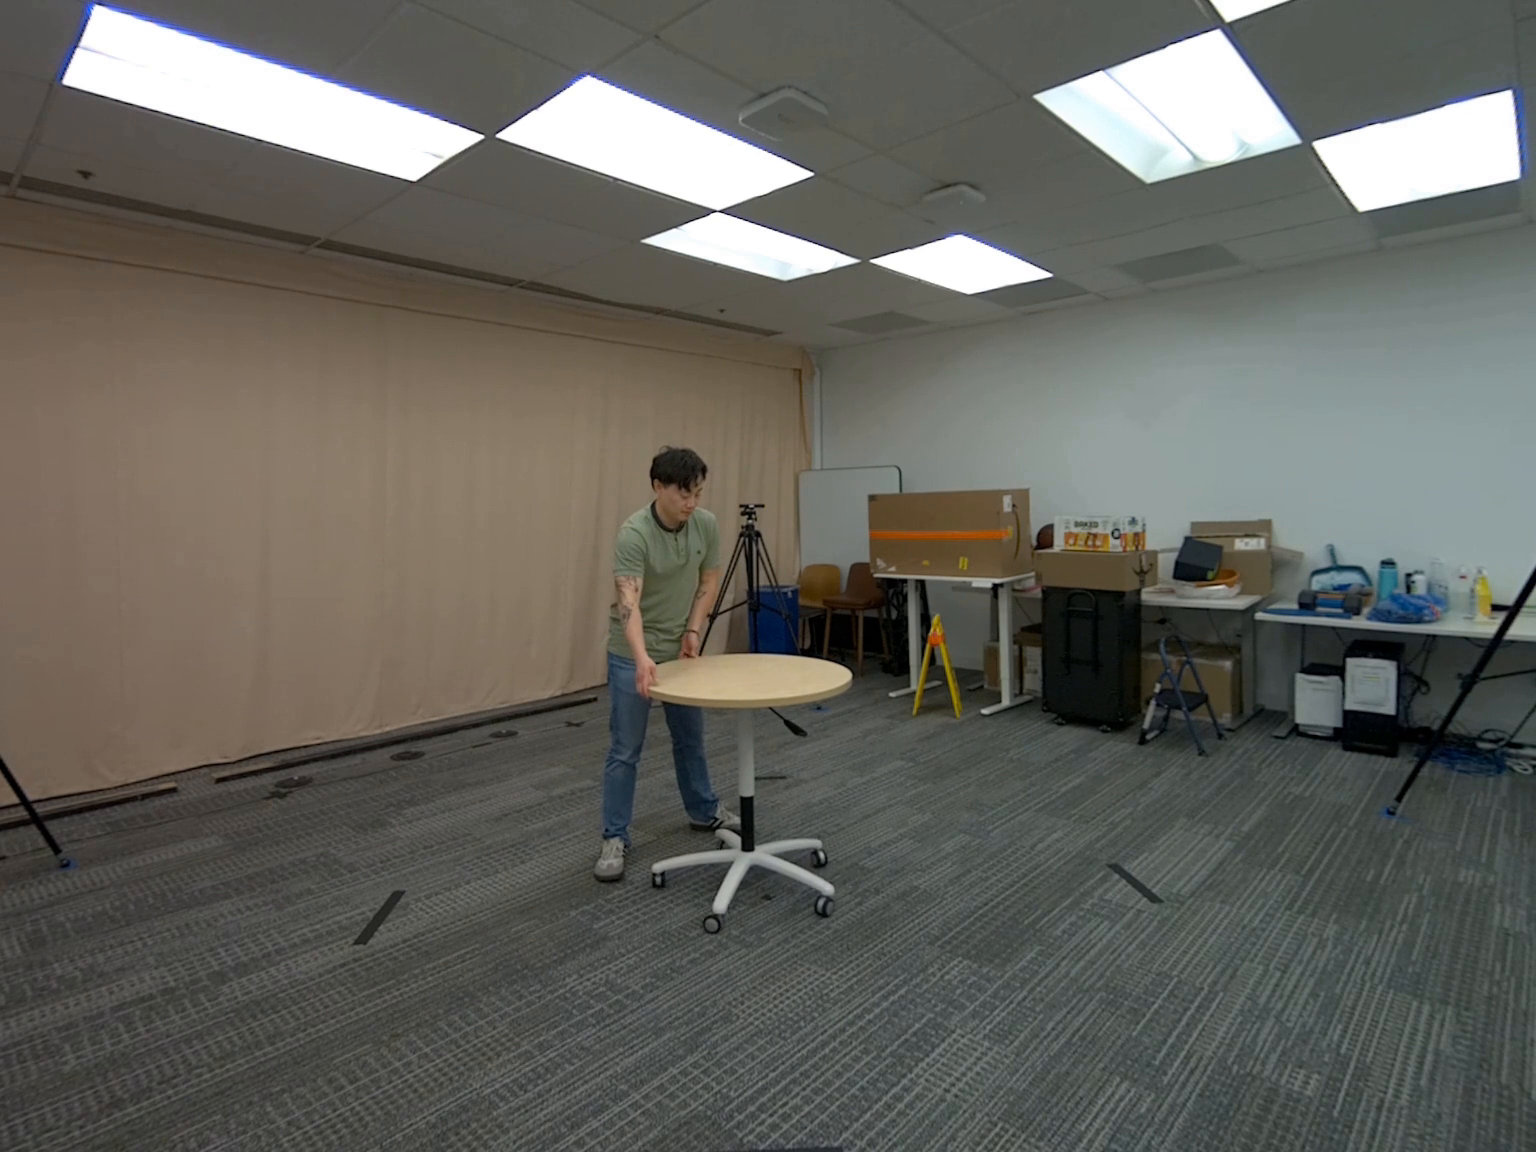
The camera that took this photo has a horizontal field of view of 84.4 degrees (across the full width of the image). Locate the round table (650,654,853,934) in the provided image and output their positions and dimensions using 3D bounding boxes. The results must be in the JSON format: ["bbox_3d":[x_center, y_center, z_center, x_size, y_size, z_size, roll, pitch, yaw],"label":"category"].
[{"bbox_3d":[-0.072,0.747,3.035,0.763,0.792,0.767,-1,4,-2],"label":"round table"}]
